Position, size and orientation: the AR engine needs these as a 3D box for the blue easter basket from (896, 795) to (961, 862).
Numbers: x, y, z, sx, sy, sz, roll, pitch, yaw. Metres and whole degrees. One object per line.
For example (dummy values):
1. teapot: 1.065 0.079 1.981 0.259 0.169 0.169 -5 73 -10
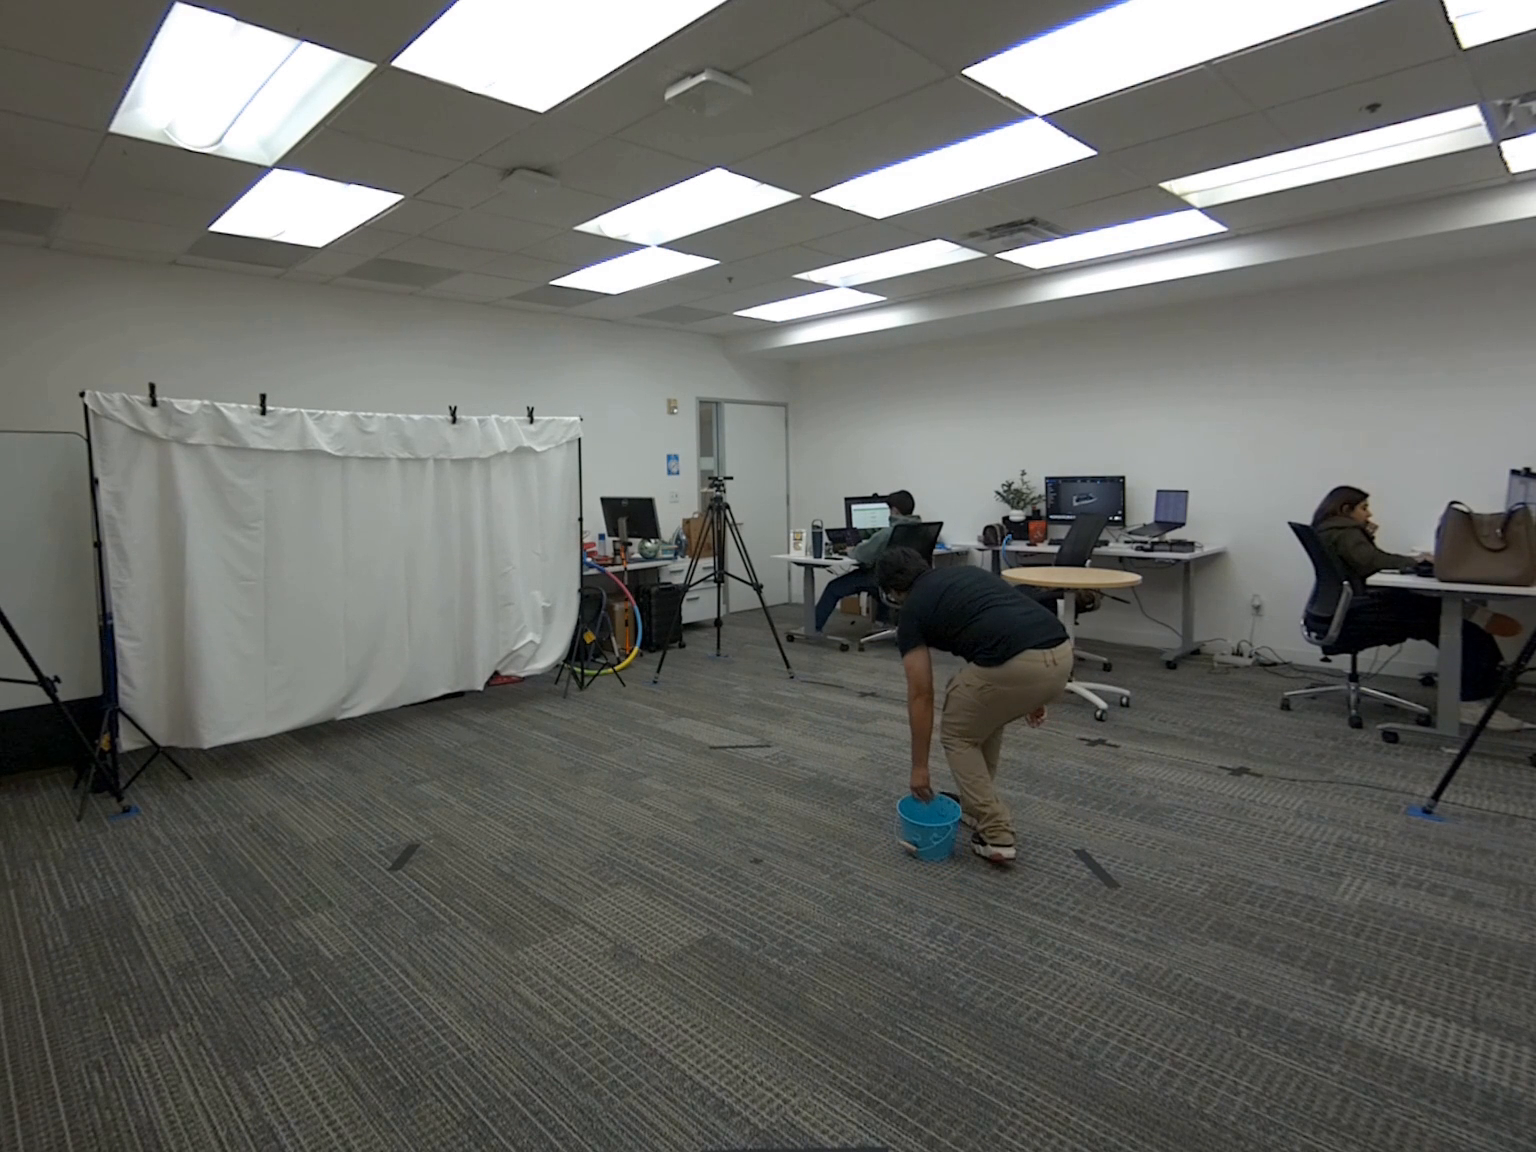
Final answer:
1. blue easter basket: 0.597 0.931 3.164 0.243 0.154 0.246 -2 13 -1
